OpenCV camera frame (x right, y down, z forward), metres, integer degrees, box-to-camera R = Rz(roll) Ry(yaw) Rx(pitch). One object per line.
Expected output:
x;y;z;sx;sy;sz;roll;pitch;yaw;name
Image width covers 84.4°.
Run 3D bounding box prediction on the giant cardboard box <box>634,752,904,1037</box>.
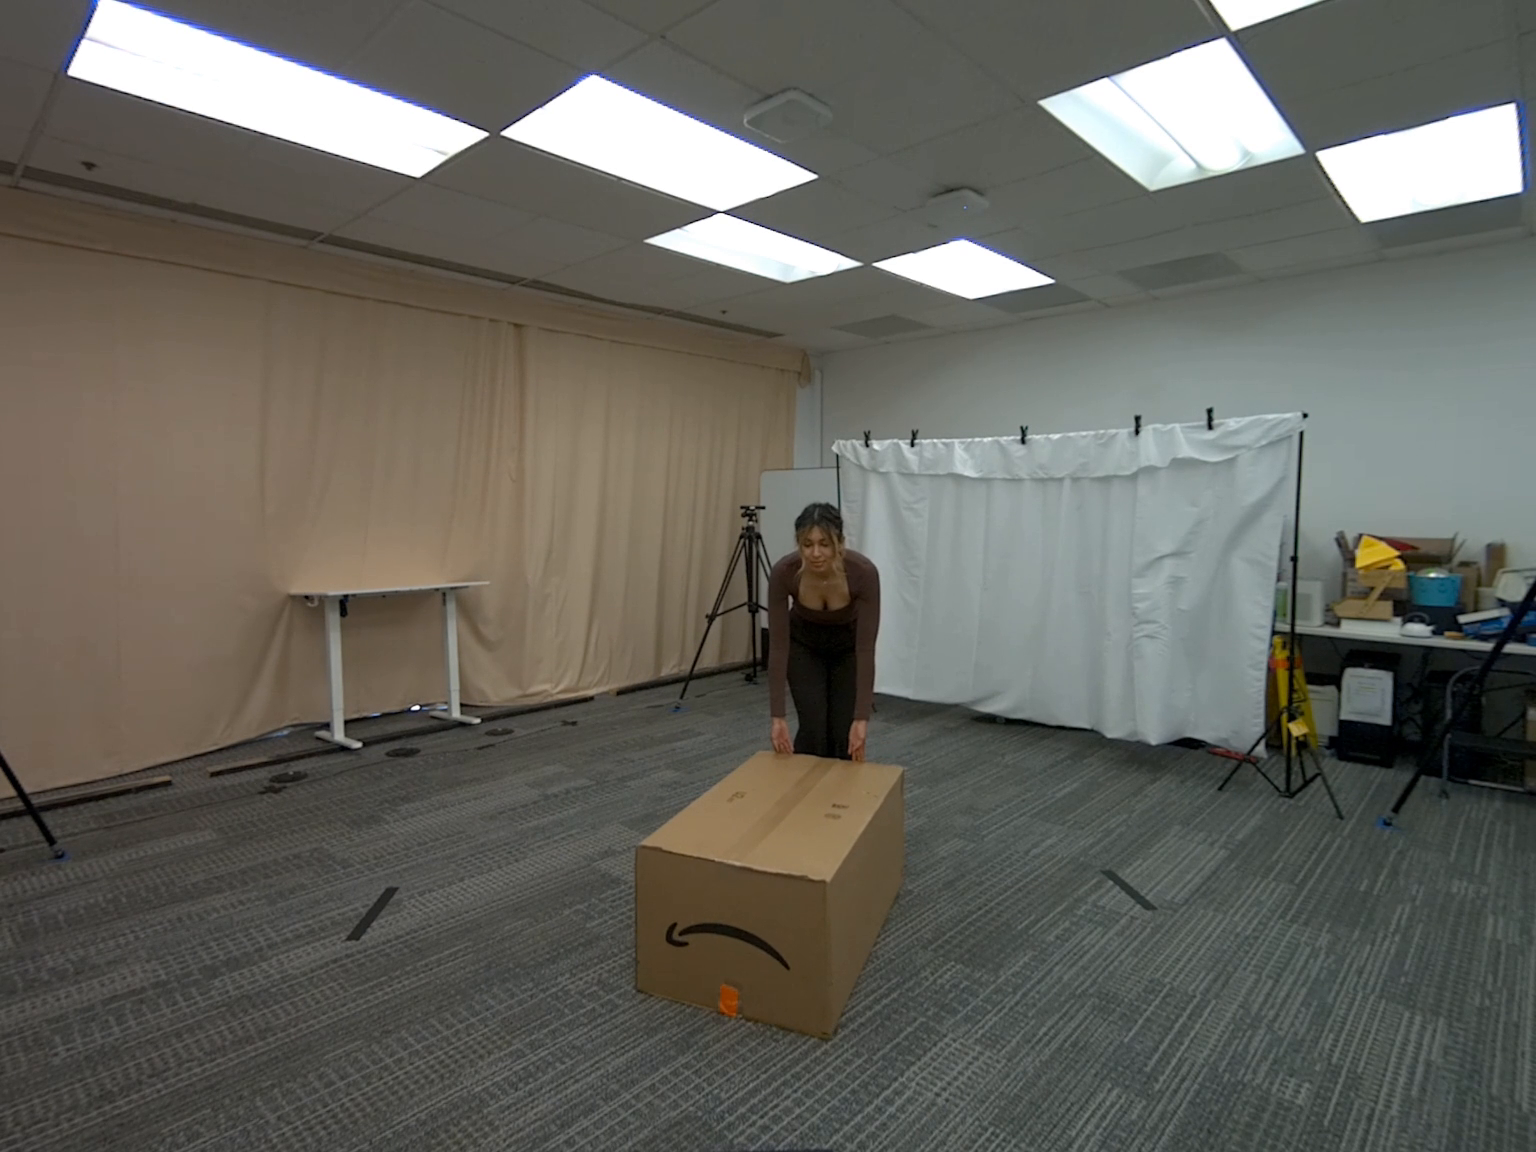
0.065;0.952;2.758;0.597;0.446;1.006;0;4;21;giant cardboard box
